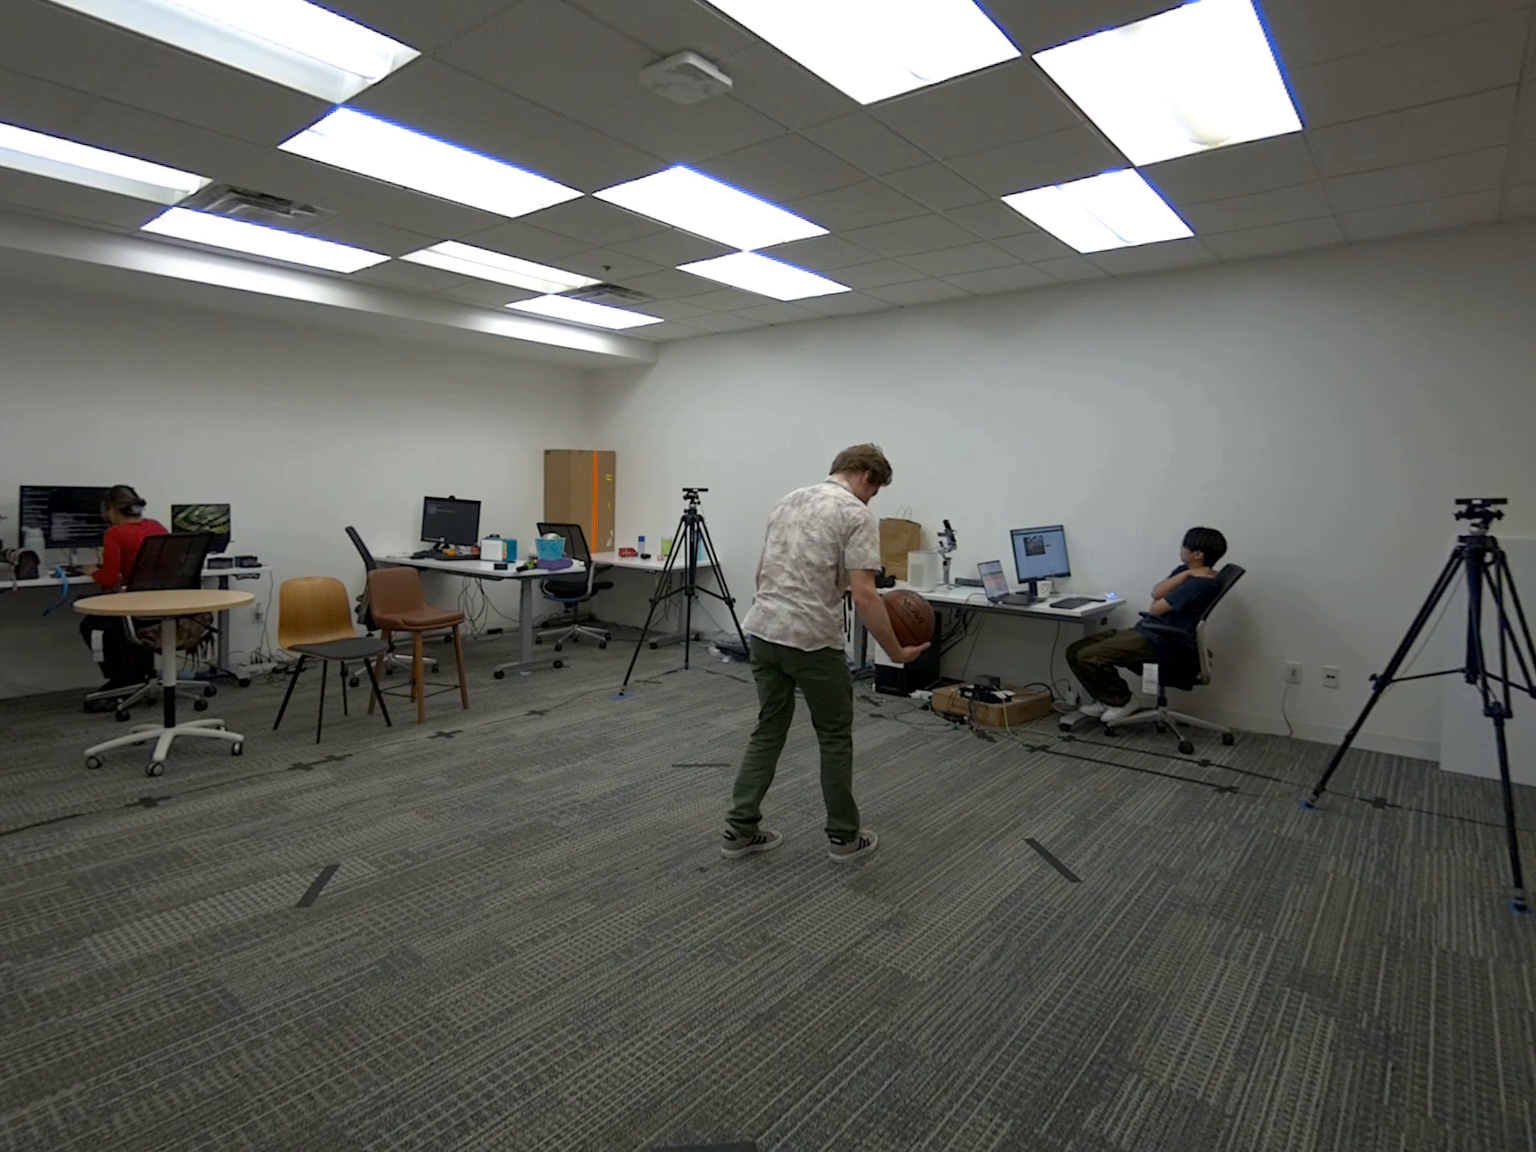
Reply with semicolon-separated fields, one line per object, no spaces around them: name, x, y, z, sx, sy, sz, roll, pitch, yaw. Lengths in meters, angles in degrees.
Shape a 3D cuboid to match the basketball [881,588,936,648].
basketball;0.488;0.166;3.177;0.235;0.235;0.237;1;4;-2
